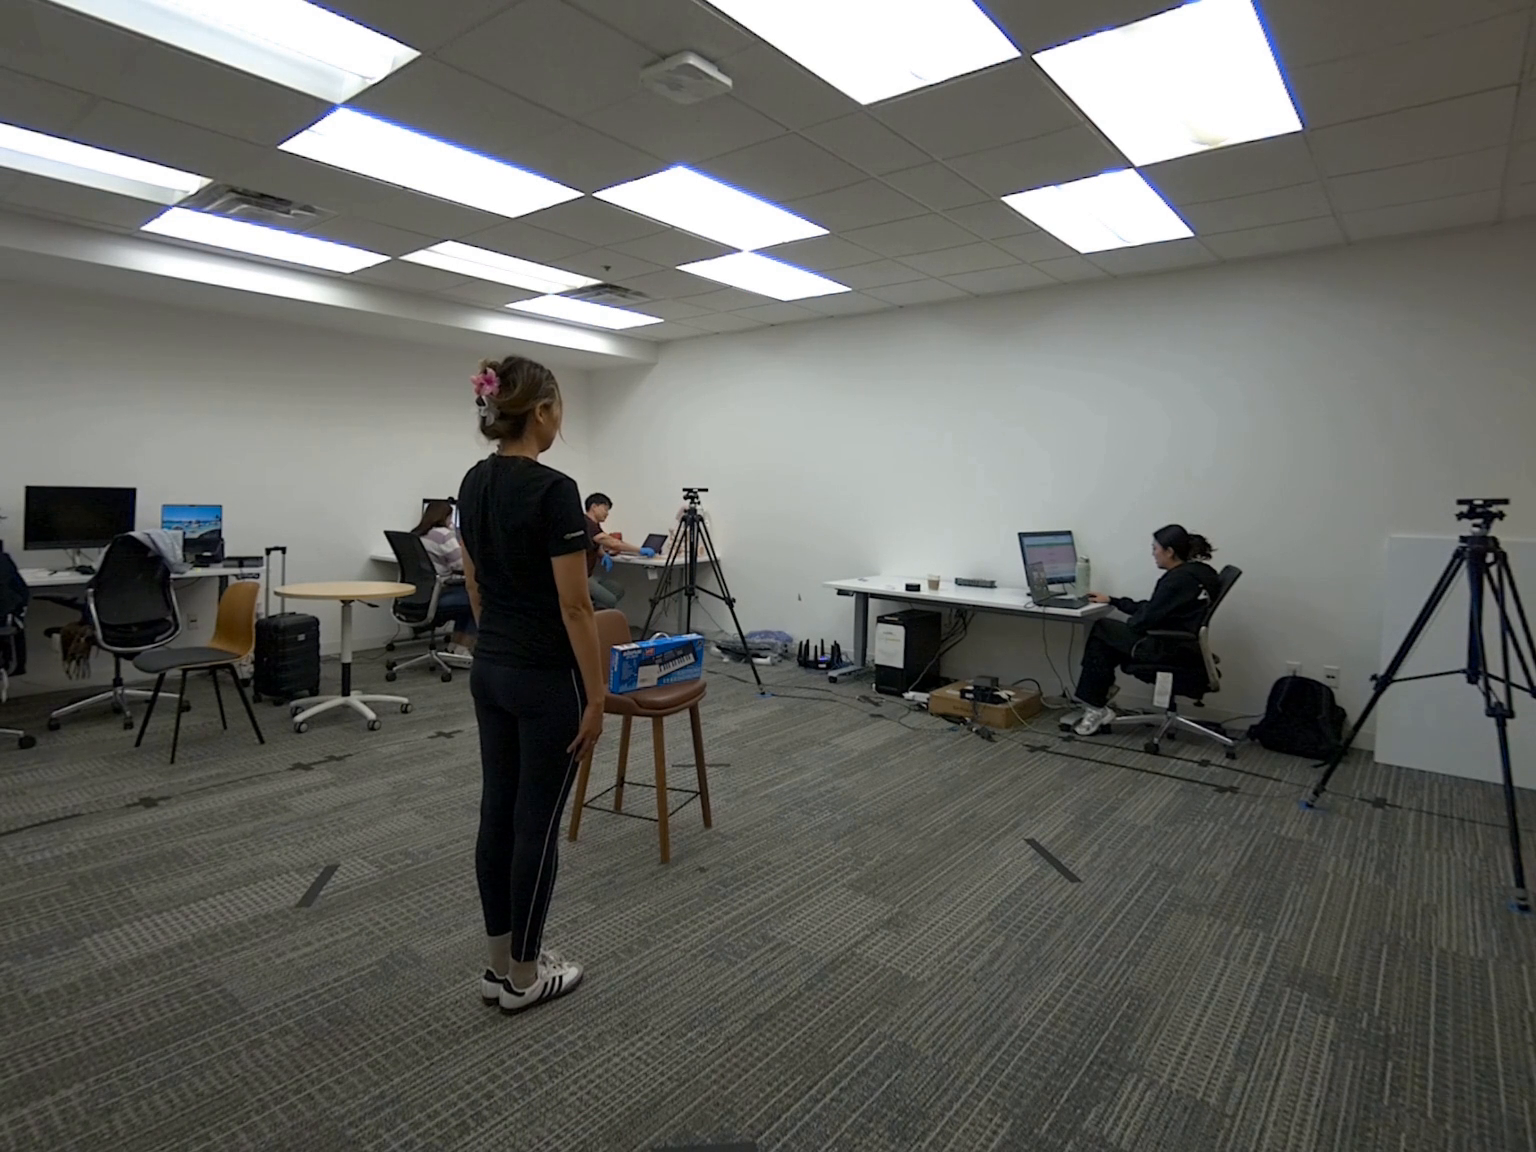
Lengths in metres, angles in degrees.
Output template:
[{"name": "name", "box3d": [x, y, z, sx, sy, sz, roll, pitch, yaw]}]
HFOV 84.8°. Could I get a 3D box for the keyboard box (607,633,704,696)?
[{"name": "keyboard box", "box3d": [-0.445, 0.343, 3.349, 0.061, 0.175, 0.424, 13, 12, 42]}]
